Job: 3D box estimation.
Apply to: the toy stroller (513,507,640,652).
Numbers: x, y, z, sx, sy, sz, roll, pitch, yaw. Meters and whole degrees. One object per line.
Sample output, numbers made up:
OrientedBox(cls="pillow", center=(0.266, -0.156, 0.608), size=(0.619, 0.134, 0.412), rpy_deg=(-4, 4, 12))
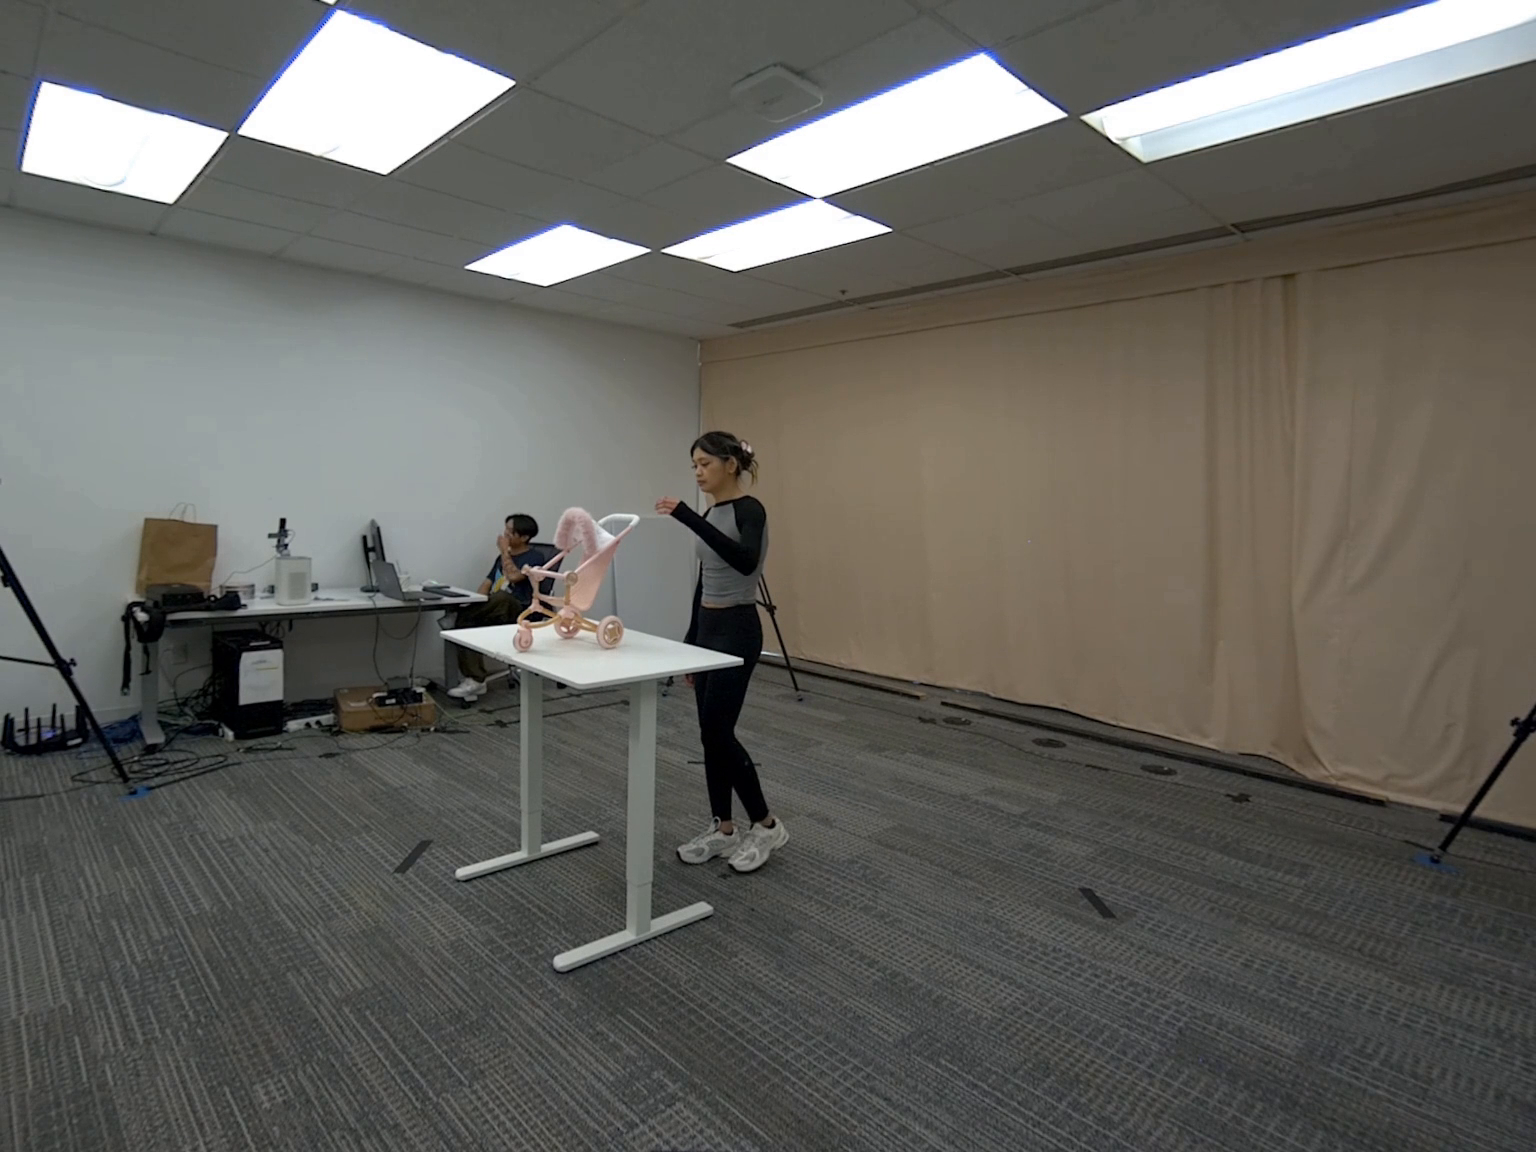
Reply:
OrientedBox(cls="toy stroller", center=(-0.668, 0.014, 2.840), size=(0.331, 0.537, 0.288), rpy_deg=(16, -8, -41))
